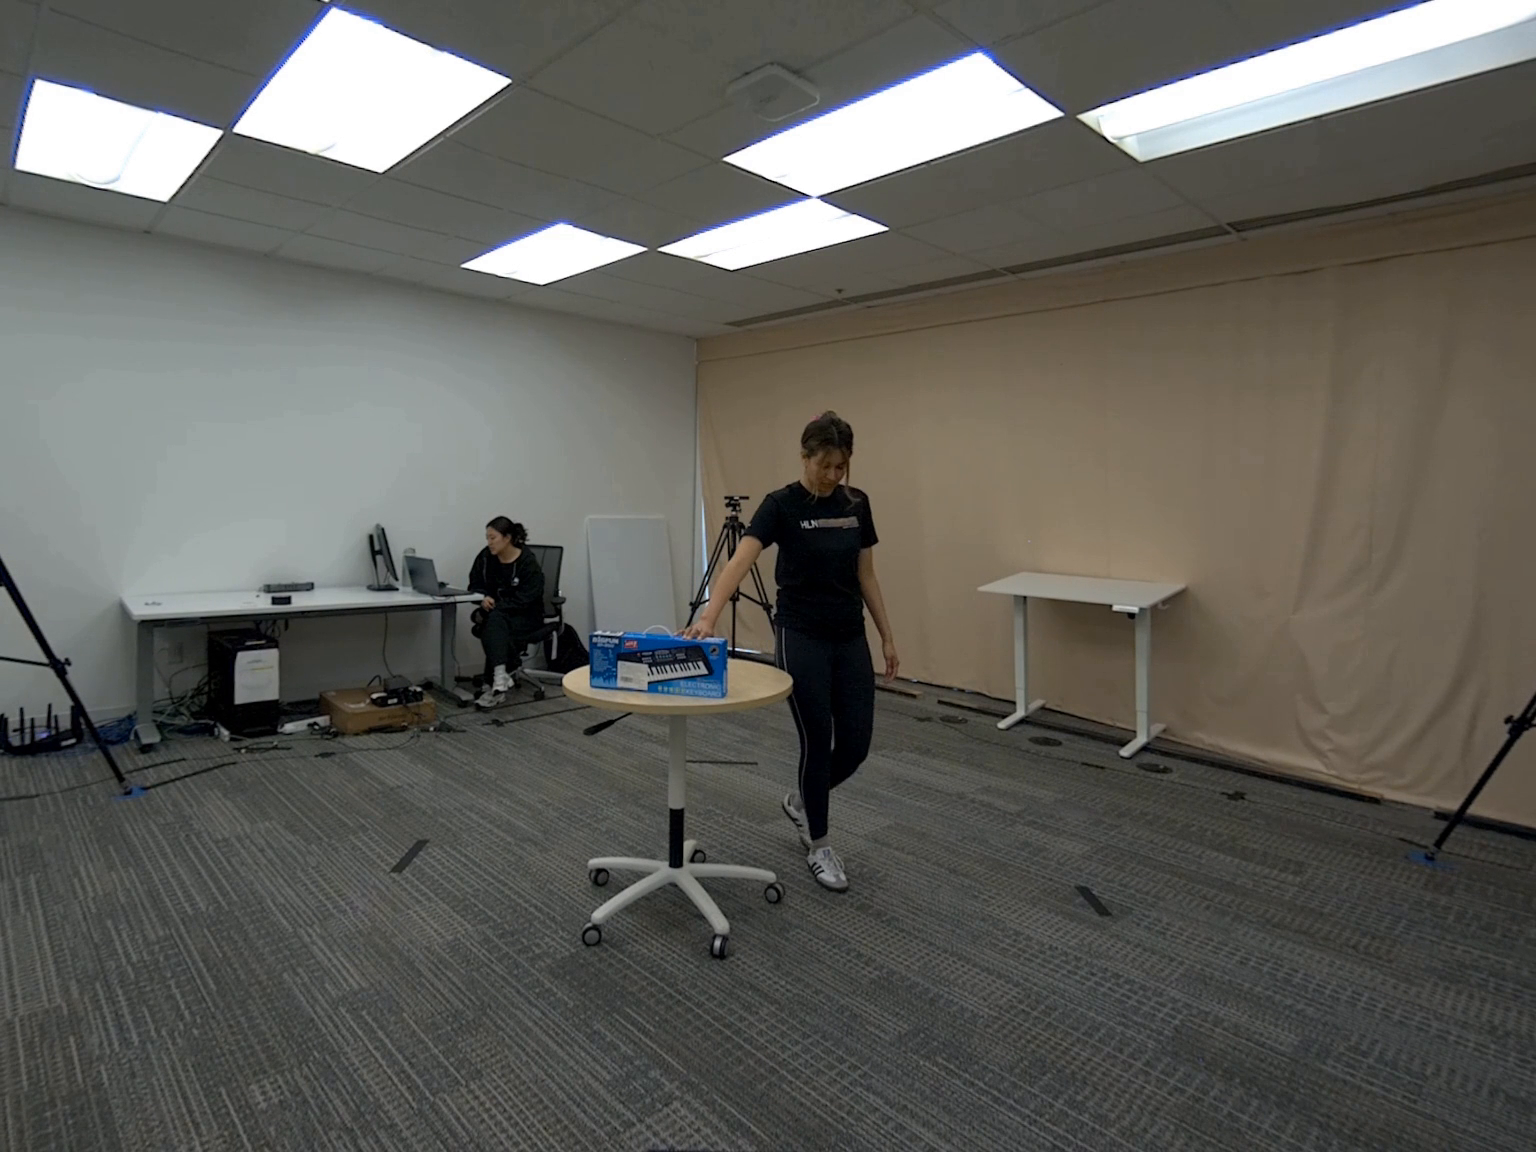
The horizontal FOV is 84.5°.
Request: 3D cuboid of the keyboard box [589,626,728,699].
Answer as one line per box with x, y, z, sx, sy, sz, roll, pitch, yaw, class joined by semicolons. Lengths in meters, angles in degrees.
-0.346;0.274;2.608;0.442;0.175;0.058;3;5;16;keyboard box
